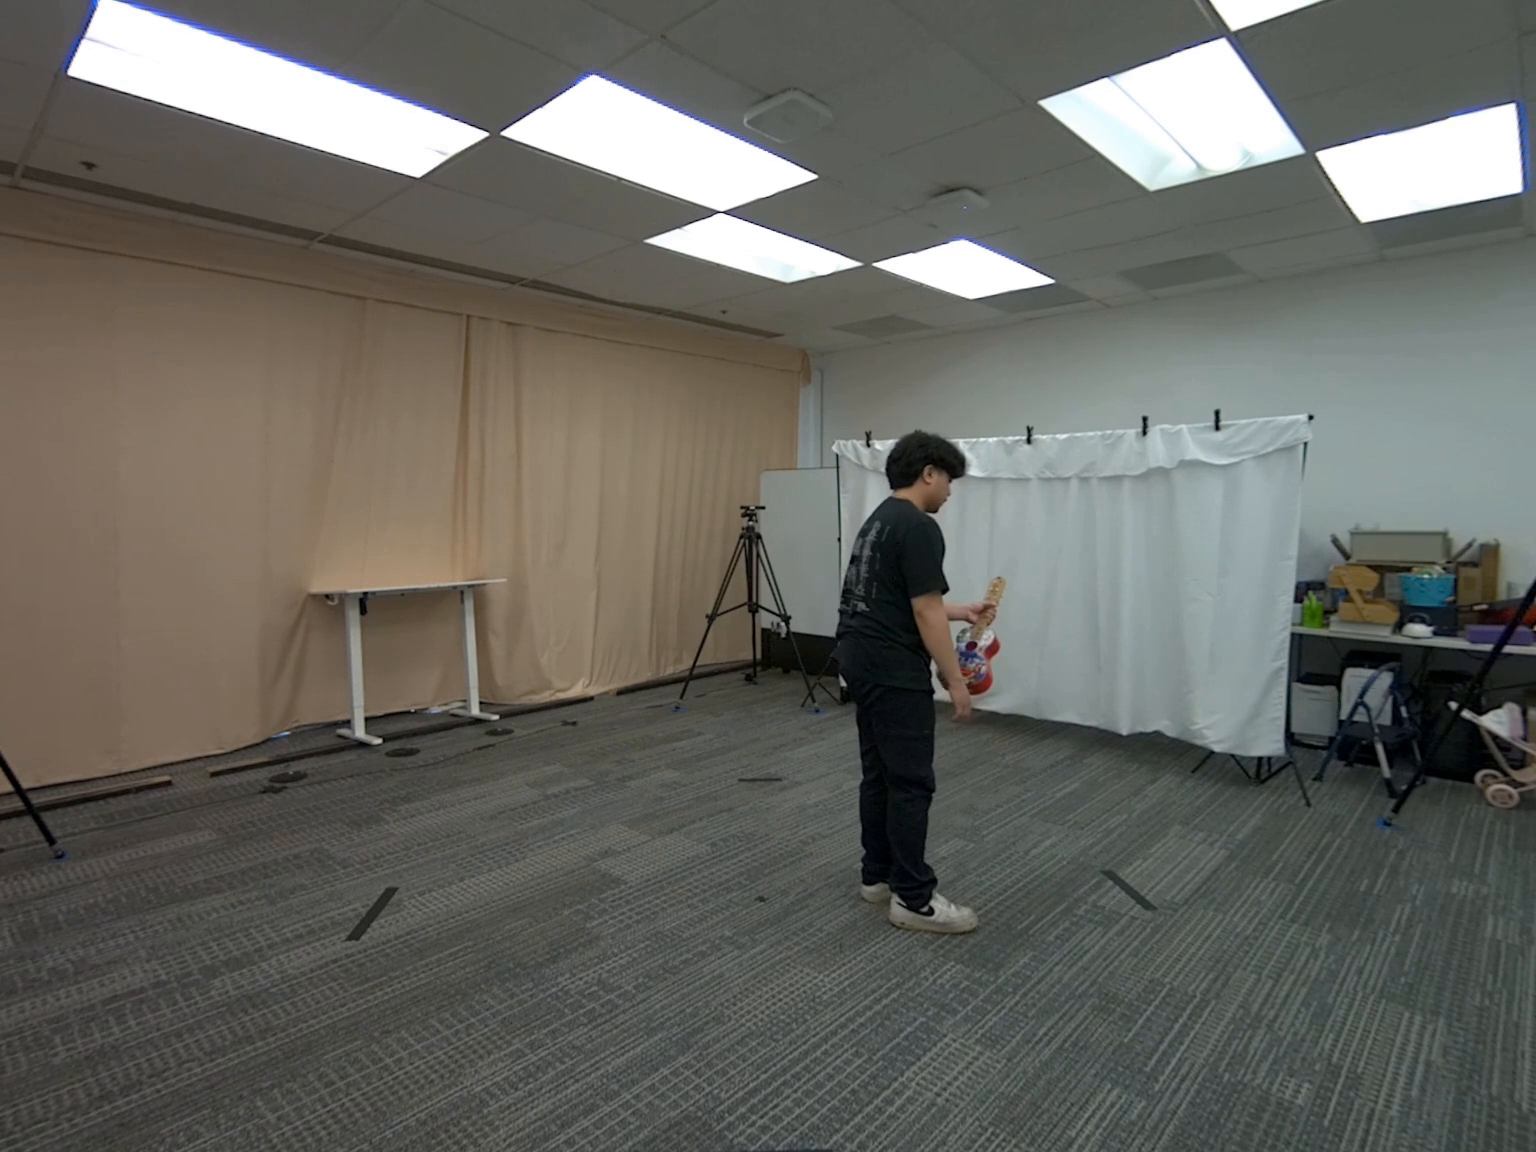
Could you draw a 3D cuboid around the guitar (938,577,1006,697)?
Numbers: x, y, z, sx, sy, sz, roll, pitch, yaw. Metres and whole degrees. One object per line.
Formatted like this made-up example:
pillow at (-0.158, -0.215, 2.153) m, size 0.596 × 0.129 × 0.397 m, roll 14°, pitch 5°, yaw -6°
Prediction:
guitar at (0.811, 0.219, 3.074) m, size 0.200 × 0.496 × 0.068 m, roll 13°, pitch -31°, yaw 47°
